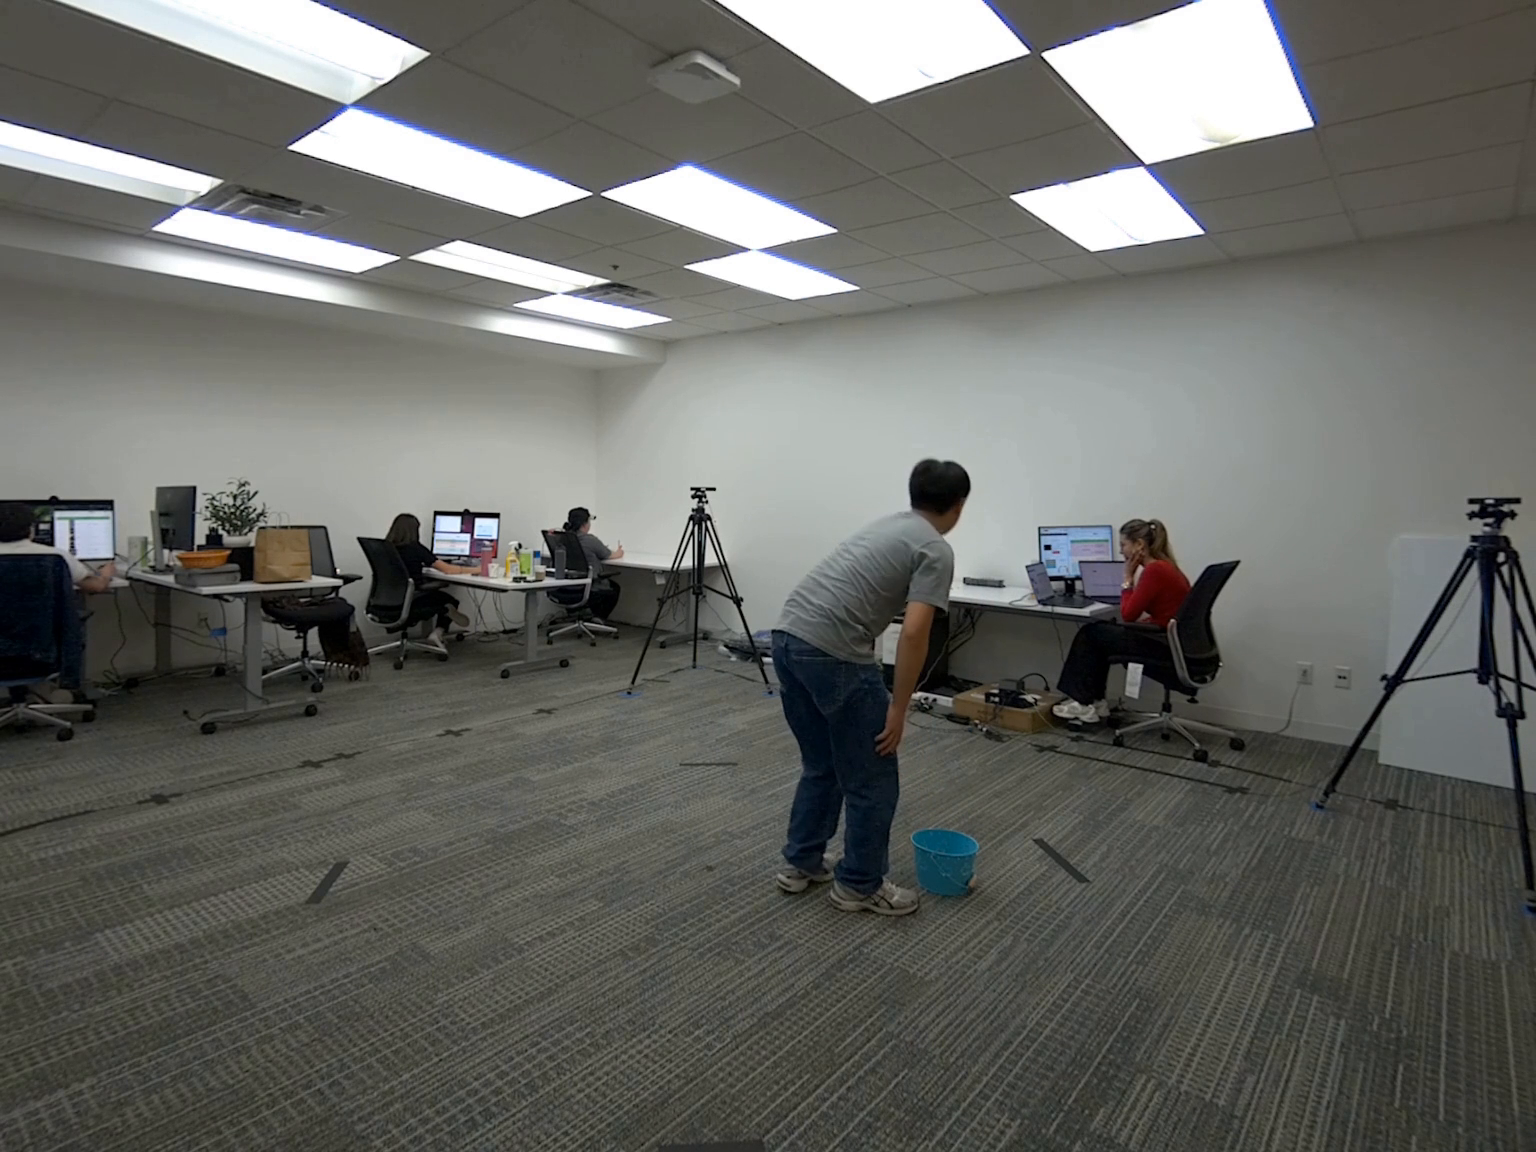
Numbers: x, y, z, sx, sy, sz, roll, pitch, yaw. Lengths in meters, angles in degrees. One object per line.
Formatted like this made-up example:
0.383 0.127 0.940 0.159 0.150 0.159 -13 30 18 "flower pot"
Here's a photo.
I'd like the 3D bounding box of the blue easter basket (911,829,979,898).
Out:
0.613 1.015 3.024 0.243 0.155 0.245 1 5 -2 "blue easter basket"
